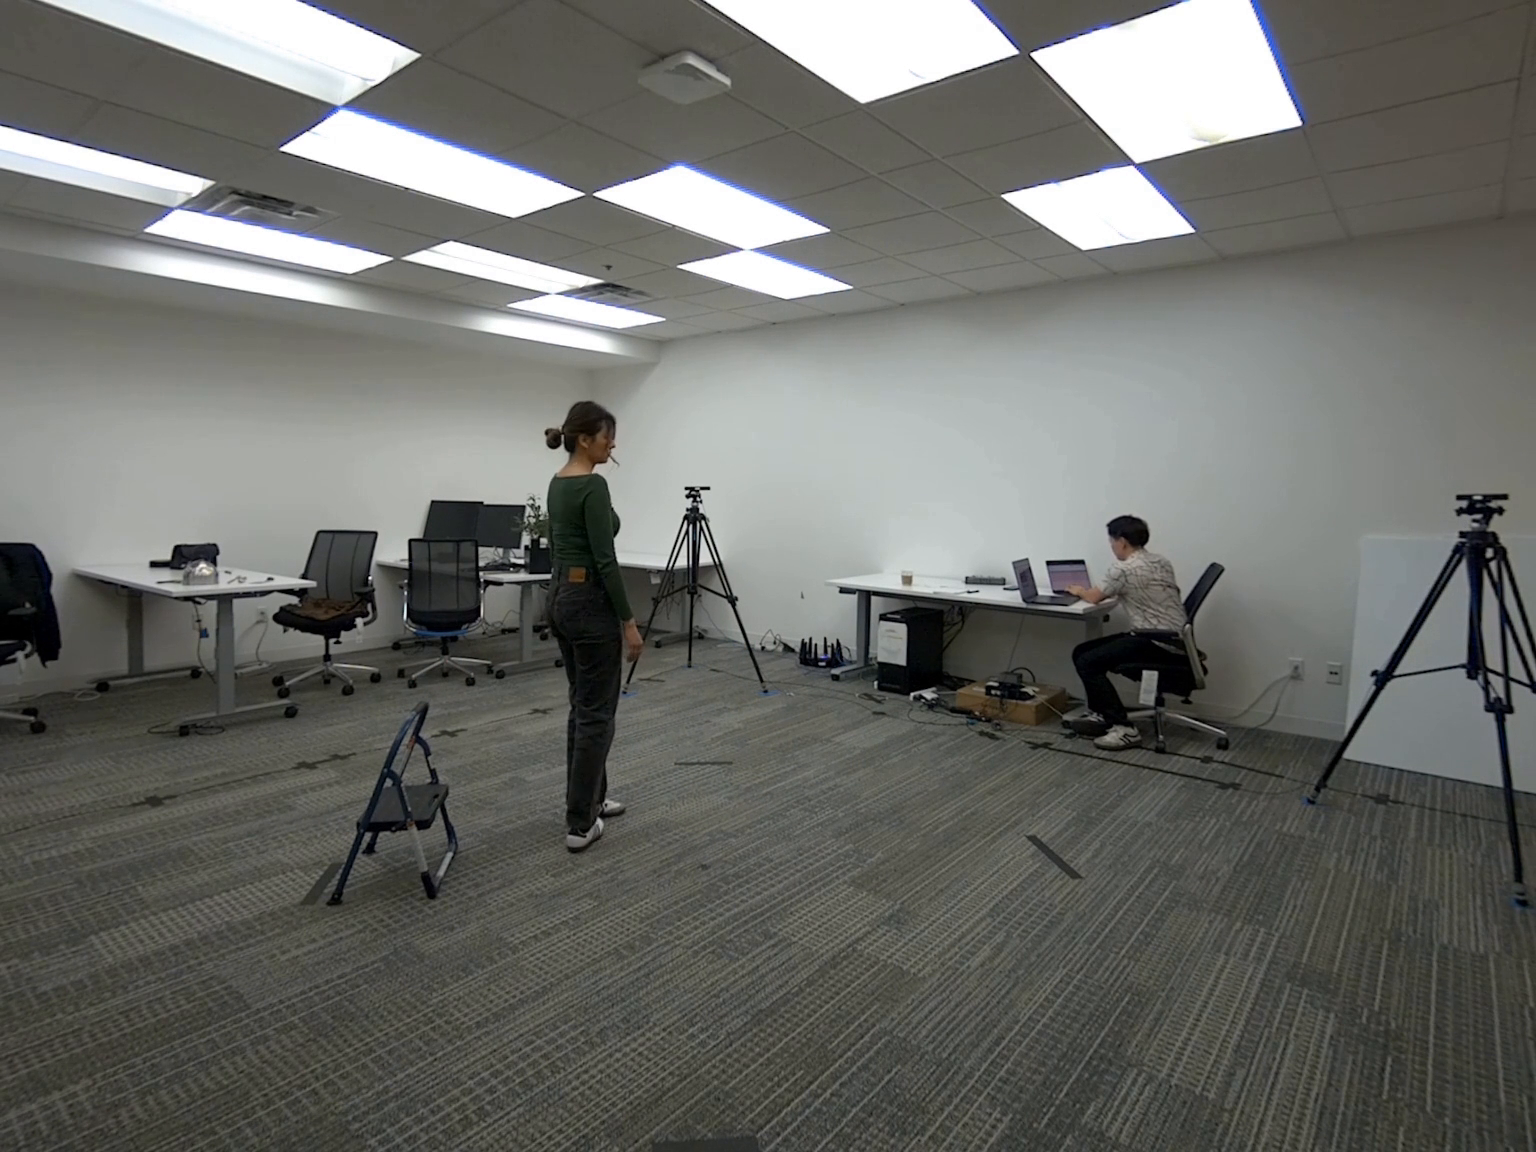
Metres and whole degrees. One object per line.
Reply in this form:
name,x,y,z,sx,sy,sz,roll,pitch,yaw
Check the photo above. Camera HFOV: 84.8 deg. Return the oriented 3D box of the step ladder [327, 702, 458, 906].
step ladder,-1.329,0.764,3.010,0.346,0.604,0.436,0,4,-10
